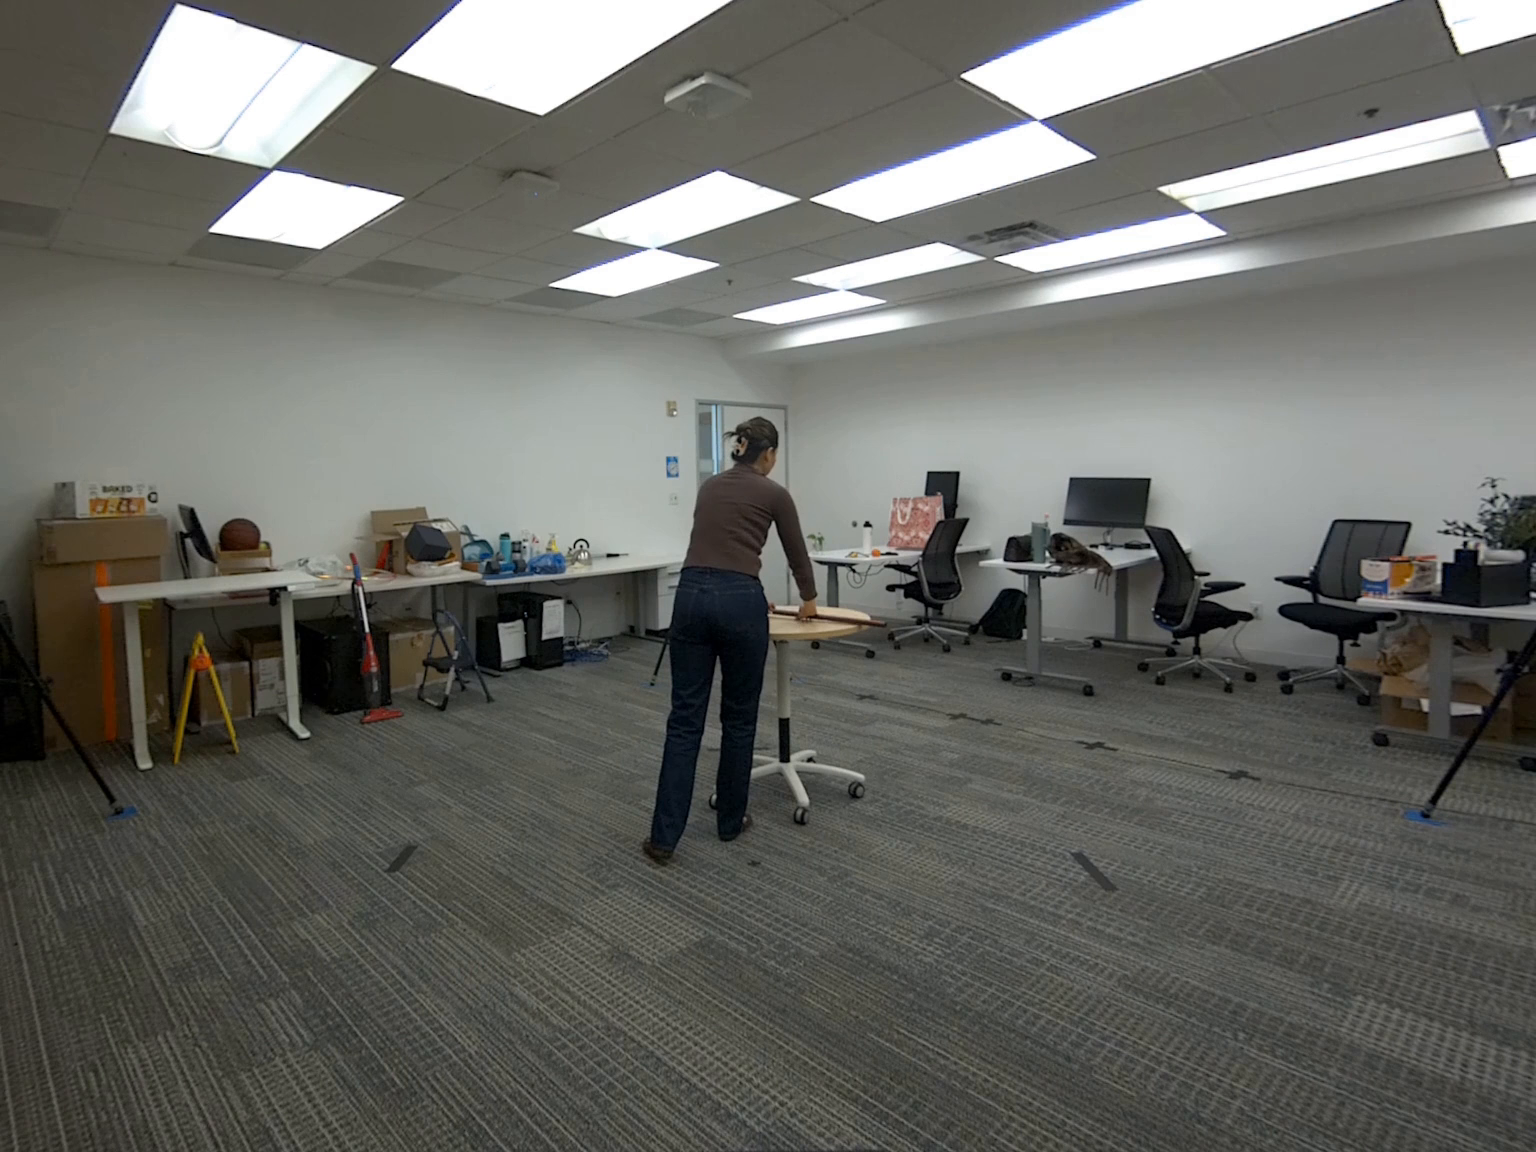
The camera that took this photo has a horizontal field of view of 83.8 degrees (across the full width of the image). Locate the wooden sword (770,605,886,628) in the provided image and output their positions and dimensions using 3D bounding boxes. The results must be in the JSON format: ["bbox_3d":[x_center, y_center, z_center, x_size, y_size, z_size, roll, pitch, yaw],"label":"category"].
[{"bbox_3d":[0.101,0.160,3.745,1.055,0.050,0.024,5,32,34],"label":"wooden sword"}]
